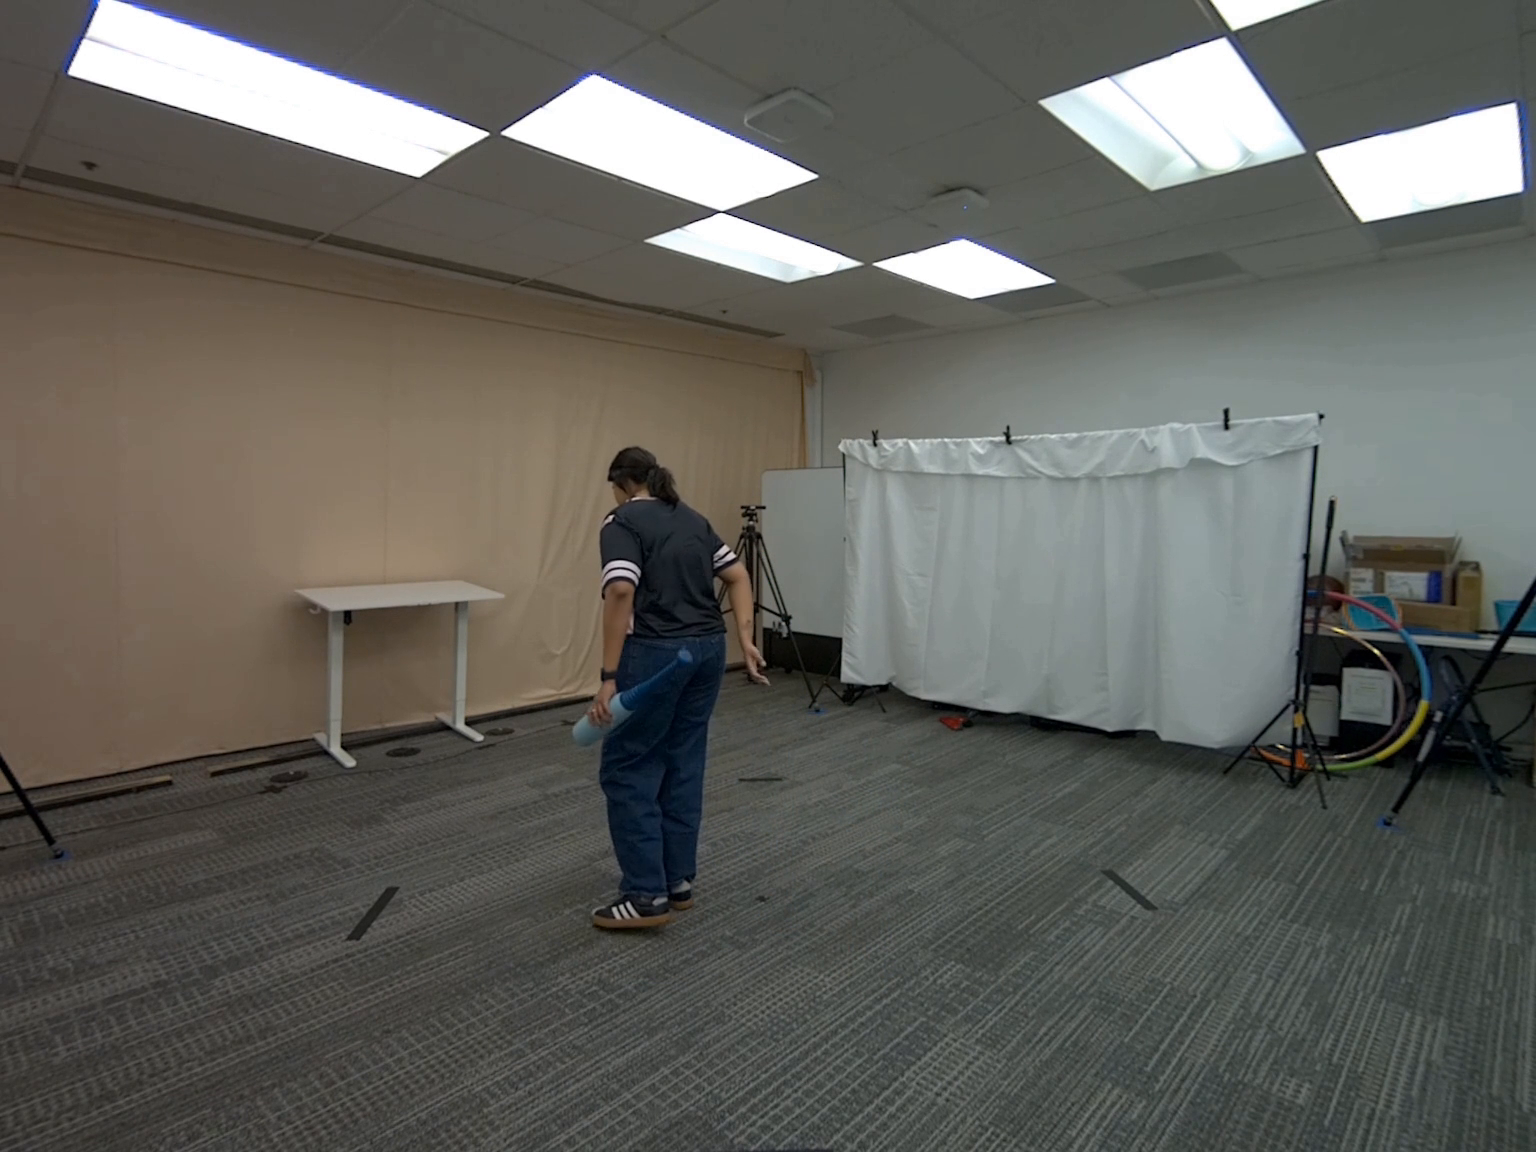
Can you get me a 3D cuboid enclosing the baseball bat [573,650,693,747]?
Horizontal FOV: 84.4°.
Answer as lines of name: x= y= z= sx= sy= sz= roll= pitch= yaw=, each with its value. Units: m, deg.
baseball bat: x=-0.425 y=0.377 z=2.594 sx=0.549 sy=0.091 sz=0.086 roll=-39 pitch=-19 yaw=31
